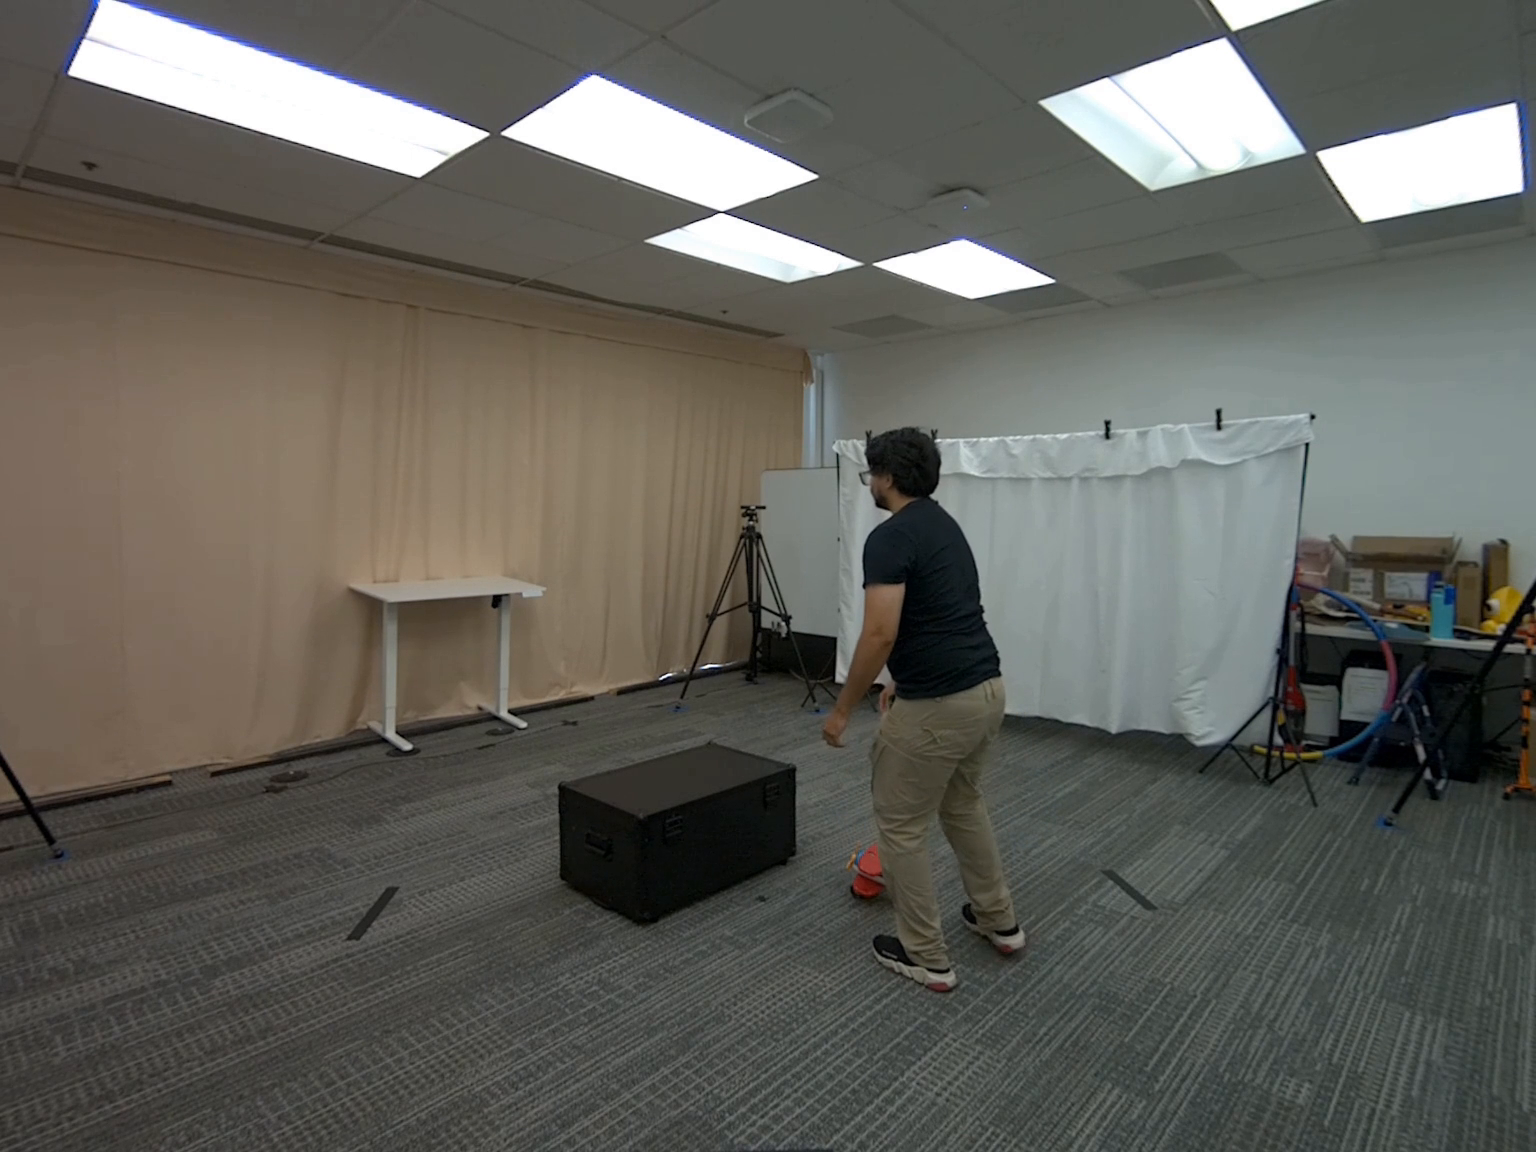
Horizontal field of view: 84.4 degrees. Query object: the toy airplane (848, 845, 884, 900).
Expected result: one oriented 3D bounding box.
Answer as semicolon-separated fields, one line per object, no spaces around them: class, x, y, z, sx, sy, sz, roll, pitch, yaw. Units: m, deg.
toy airplane;0.425;1.069;2.997;0.259;0.156;0.251;-1;3;0
